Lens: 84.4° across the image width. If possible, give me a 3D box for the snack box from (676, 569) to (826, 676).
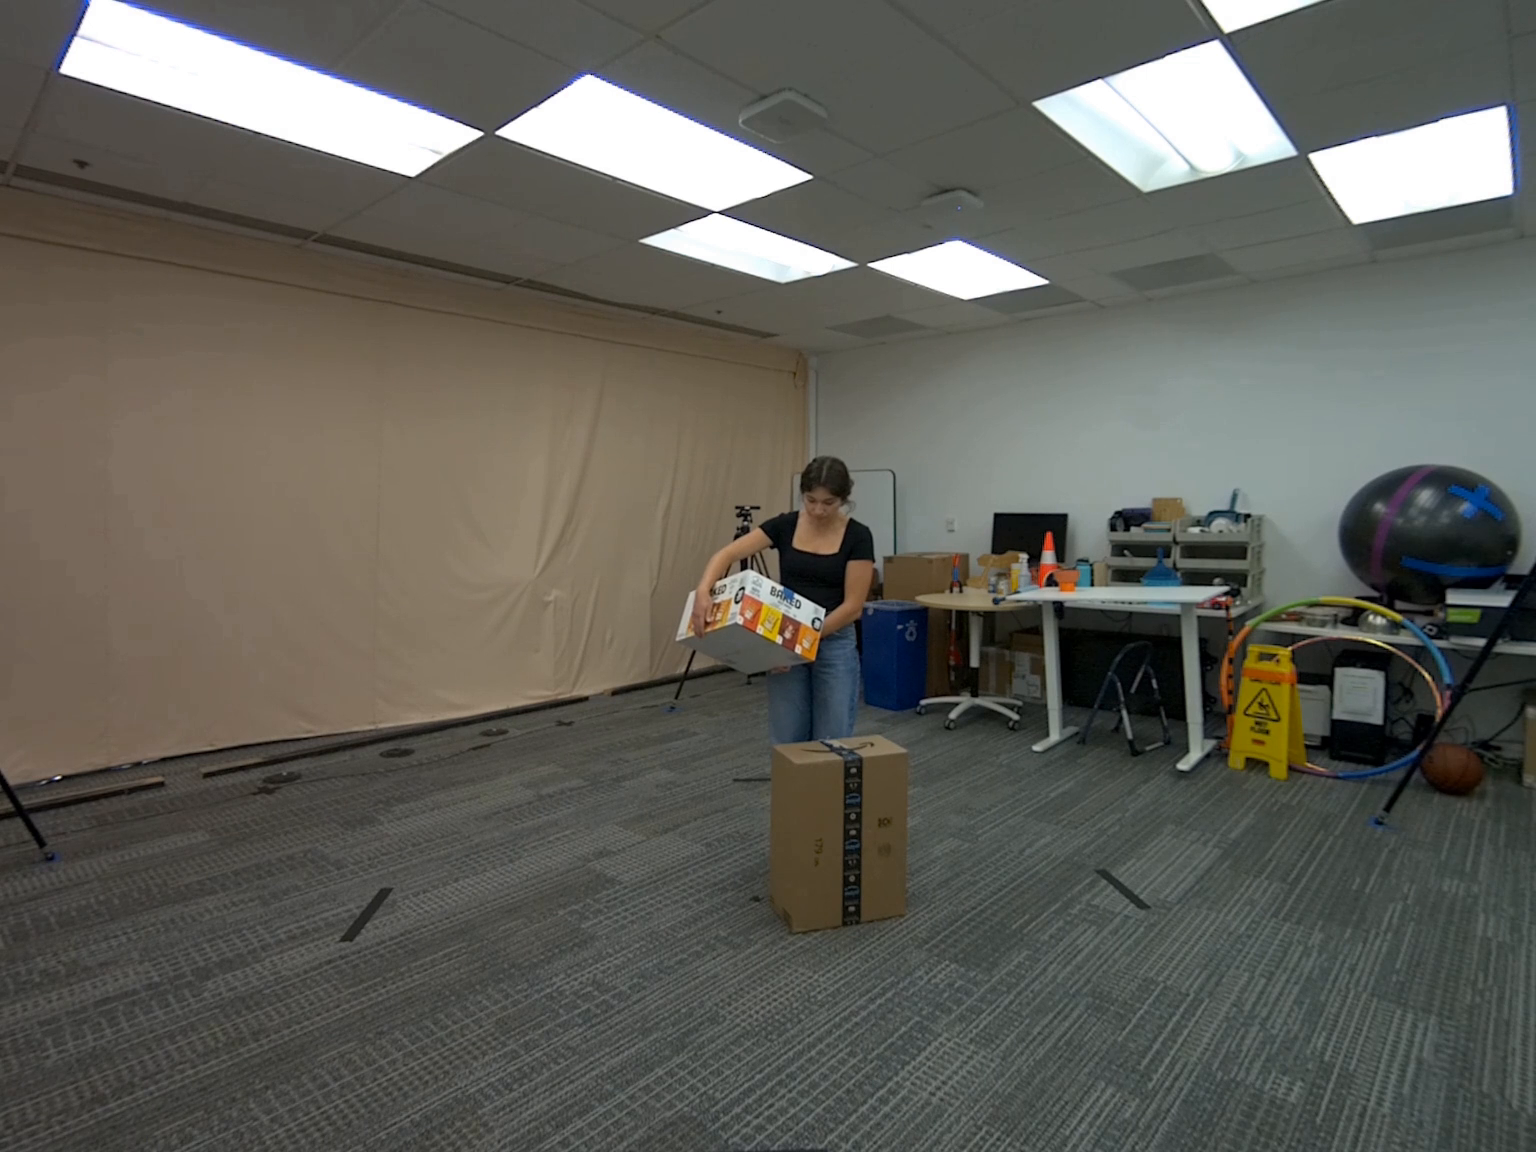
[{"bbox_3d":[-0.064,0.178,3.035,0.331,0.207,0.414,29,-28,-26],"label":"snack box"}]
